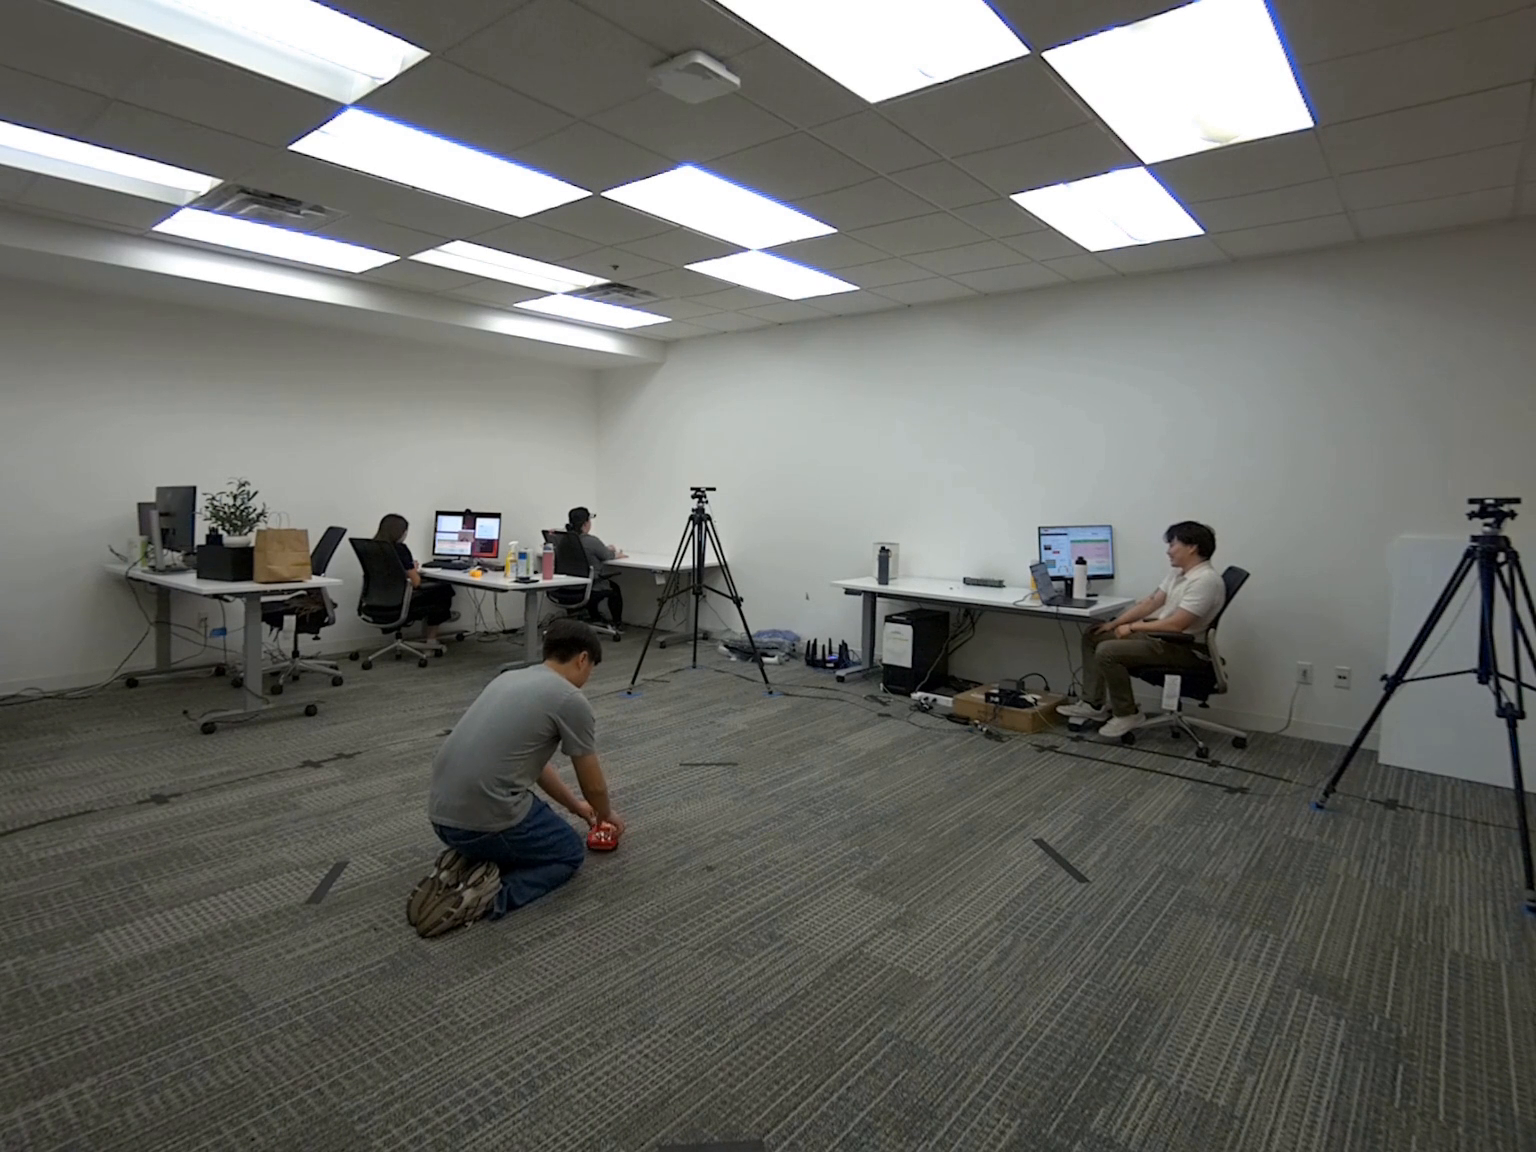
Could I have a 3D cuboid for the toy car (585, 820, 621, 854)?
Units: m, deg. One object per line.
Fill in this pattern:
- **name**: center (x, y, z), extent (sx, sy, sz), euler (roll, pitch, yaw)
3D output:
- **toy car**: center (-0.654, 1.007, 3.313), extent (0.129, 0.083, 0.255), euler (1, -2, -7)
